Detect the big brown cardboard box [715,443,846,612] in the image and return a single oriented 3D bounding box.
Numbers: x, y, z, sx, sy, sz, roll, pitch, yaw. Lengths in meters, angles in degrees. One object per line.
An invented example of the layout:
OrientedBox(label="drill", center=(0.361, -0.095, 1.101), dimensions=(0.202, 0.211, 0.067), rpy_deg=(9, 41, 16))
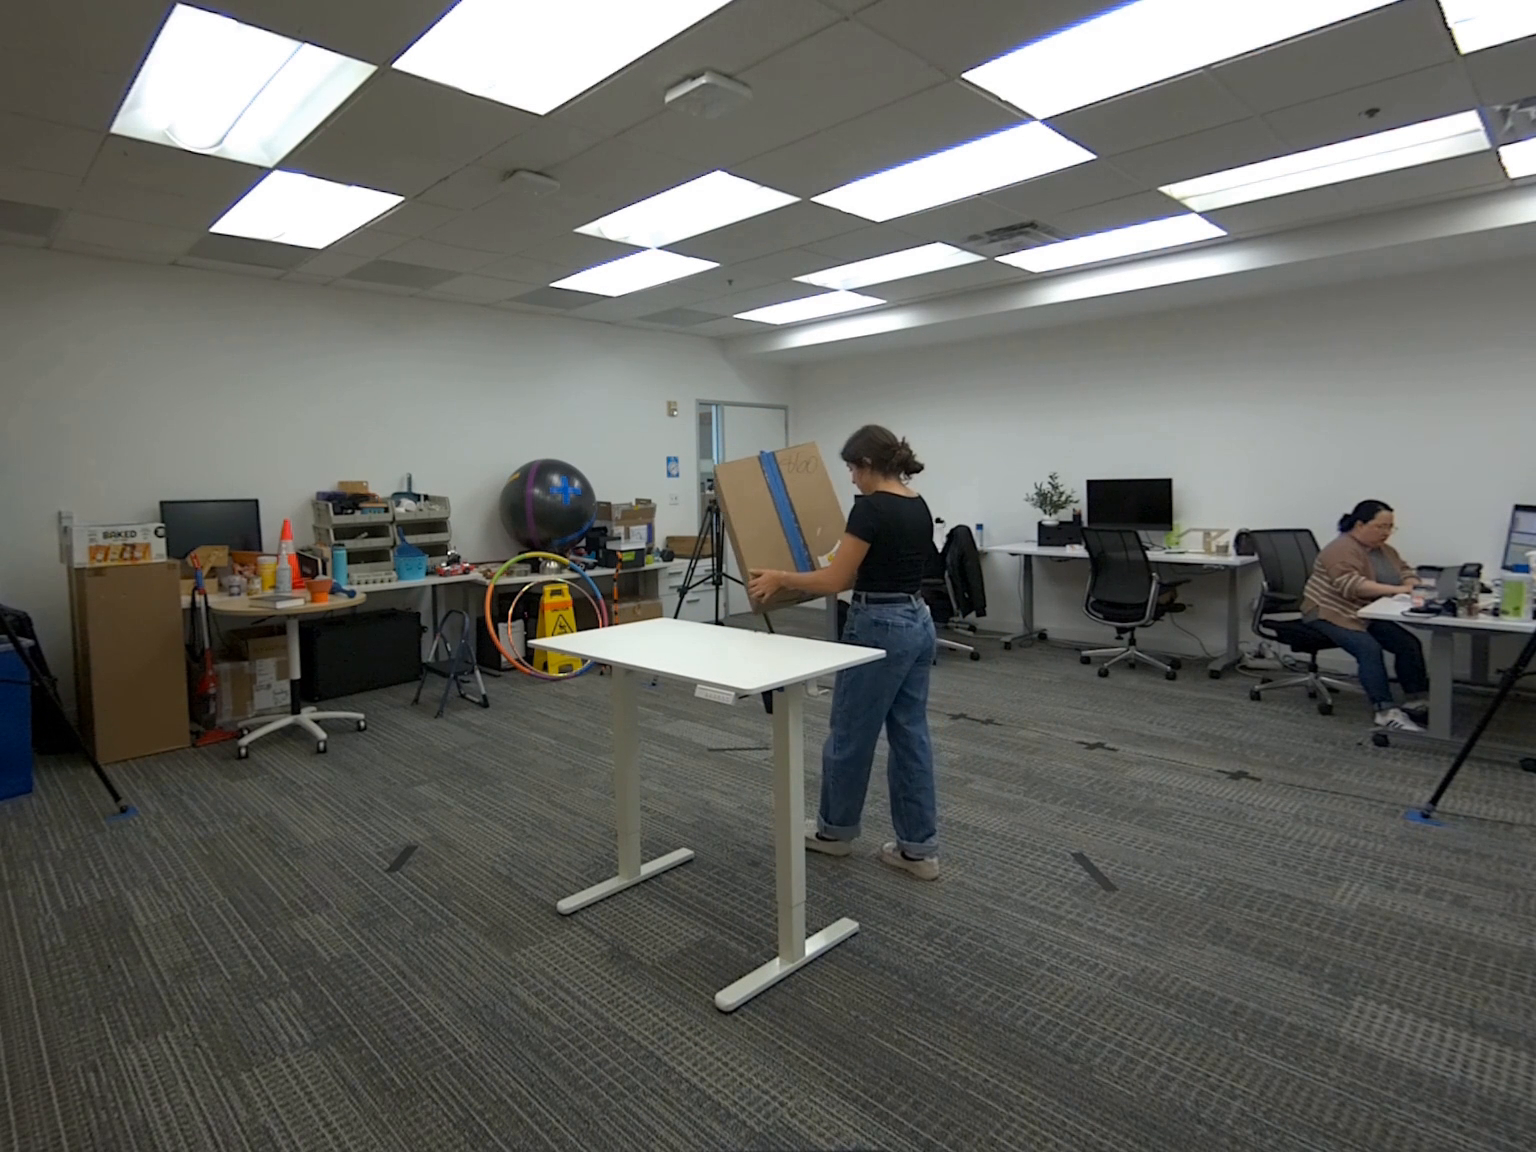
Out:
OrientedBox(label="big brown cardboard box", center=(0.069, -0.182, 3.306), dimensions=(0.415, 0.603, 0.229), rpy_deg=(-16, -21, -8))
